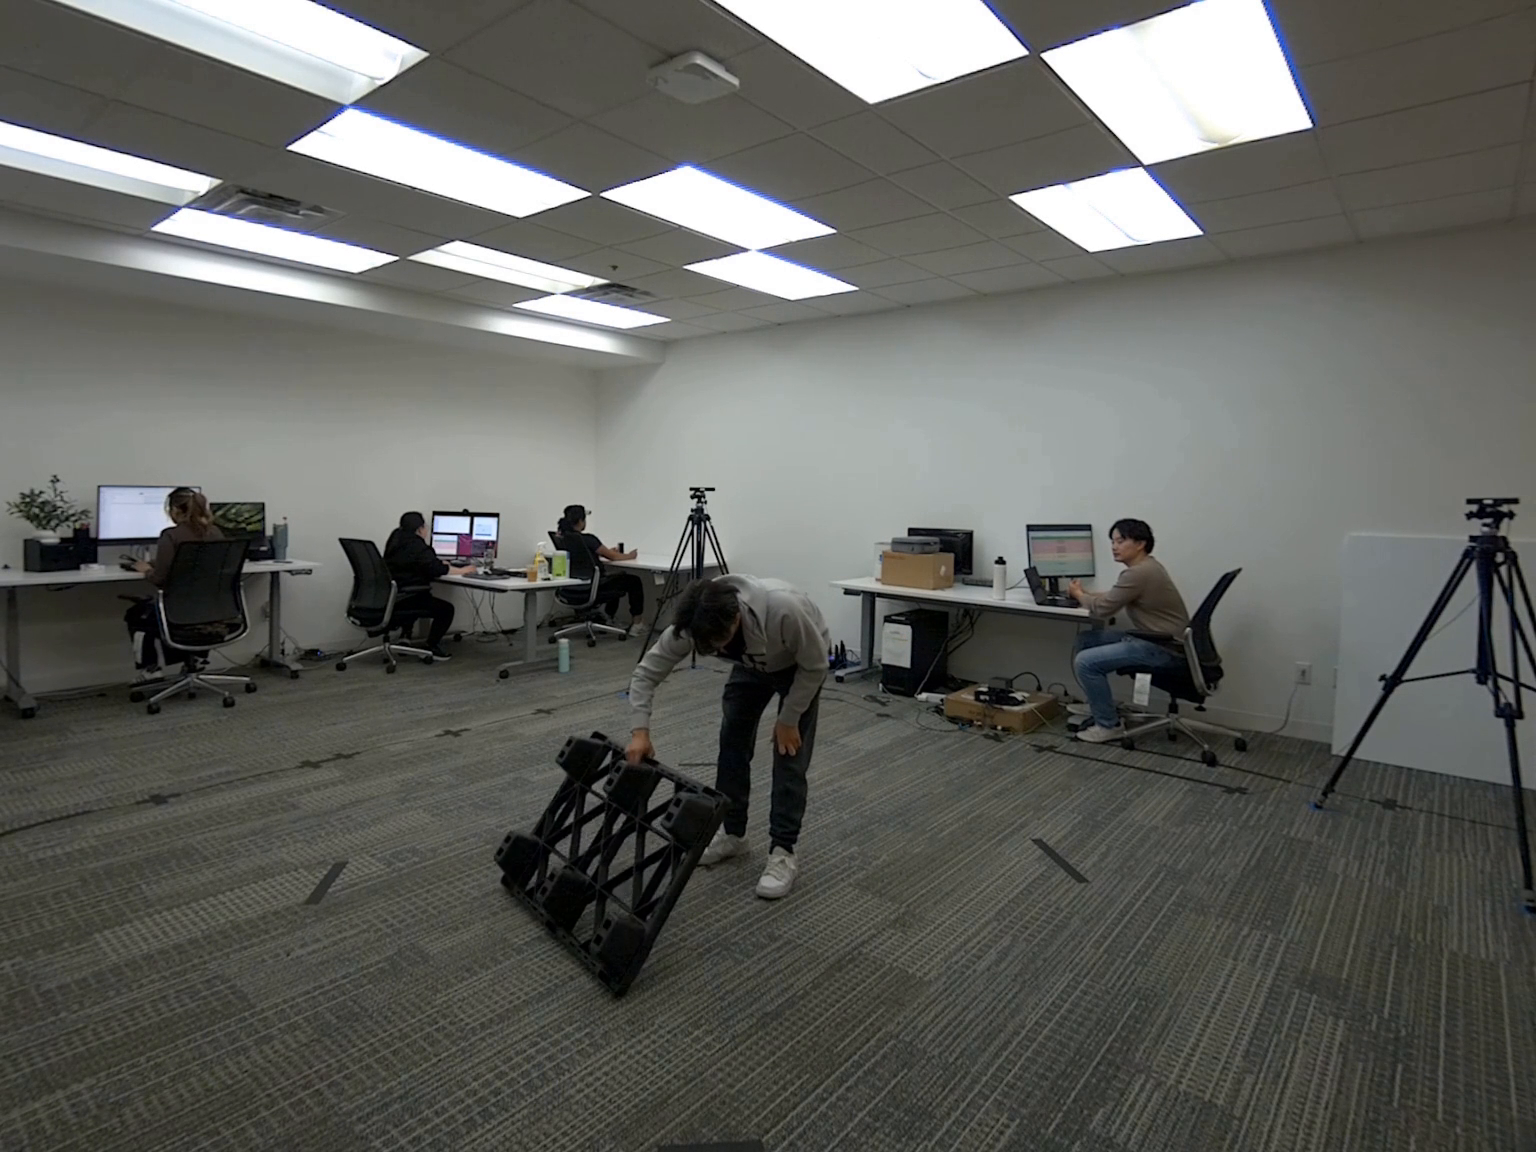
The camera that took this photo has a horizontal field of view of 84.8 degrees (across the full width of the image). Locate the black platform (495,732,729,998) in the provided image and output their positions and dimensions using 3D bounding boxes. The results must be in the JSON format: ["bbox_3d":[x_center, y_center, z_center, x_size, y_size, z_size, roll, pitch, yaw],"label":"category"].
[{"bbox_3d":[-0.544,0.833,2.691,0.833,0.608,0.138,7,-30,51],"label":"black platform"}]
